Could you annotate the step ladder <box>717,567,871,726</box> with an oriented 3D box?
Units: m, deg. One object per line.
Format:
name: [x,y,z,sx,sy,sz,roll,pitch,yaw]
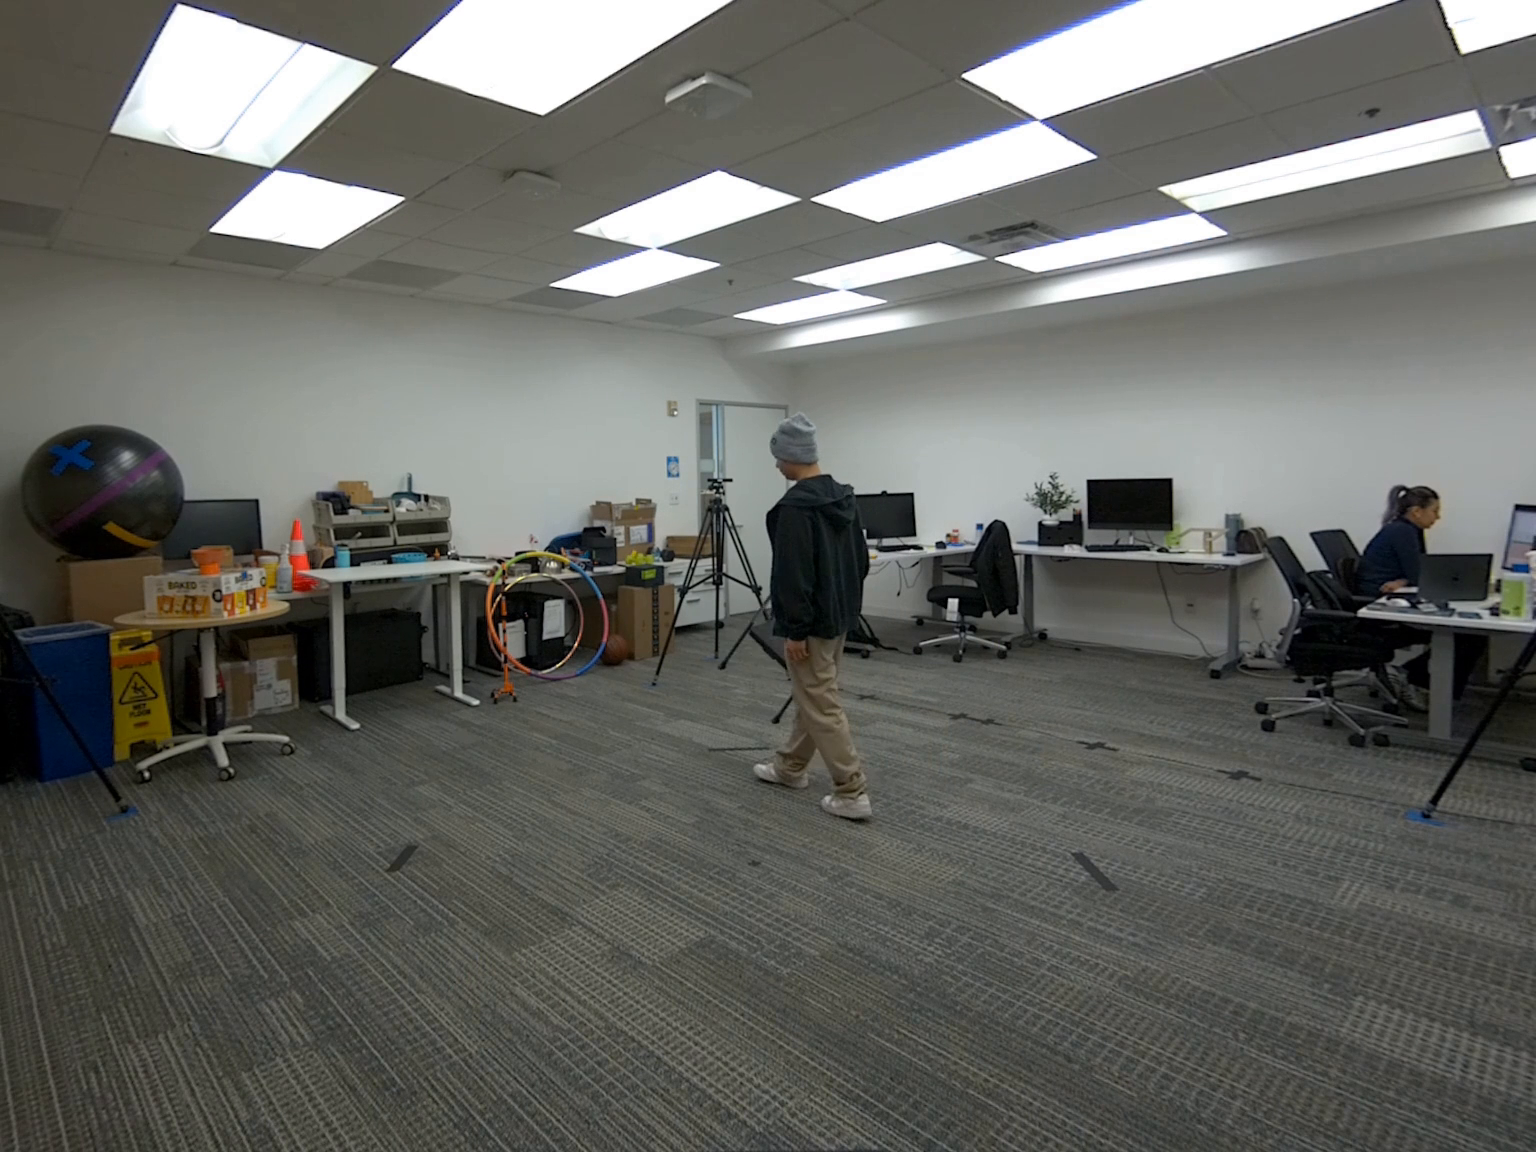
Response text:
step ladder: [0.110,0.301,4.104,0.342,0.598,0.445,-15,47,-46]
